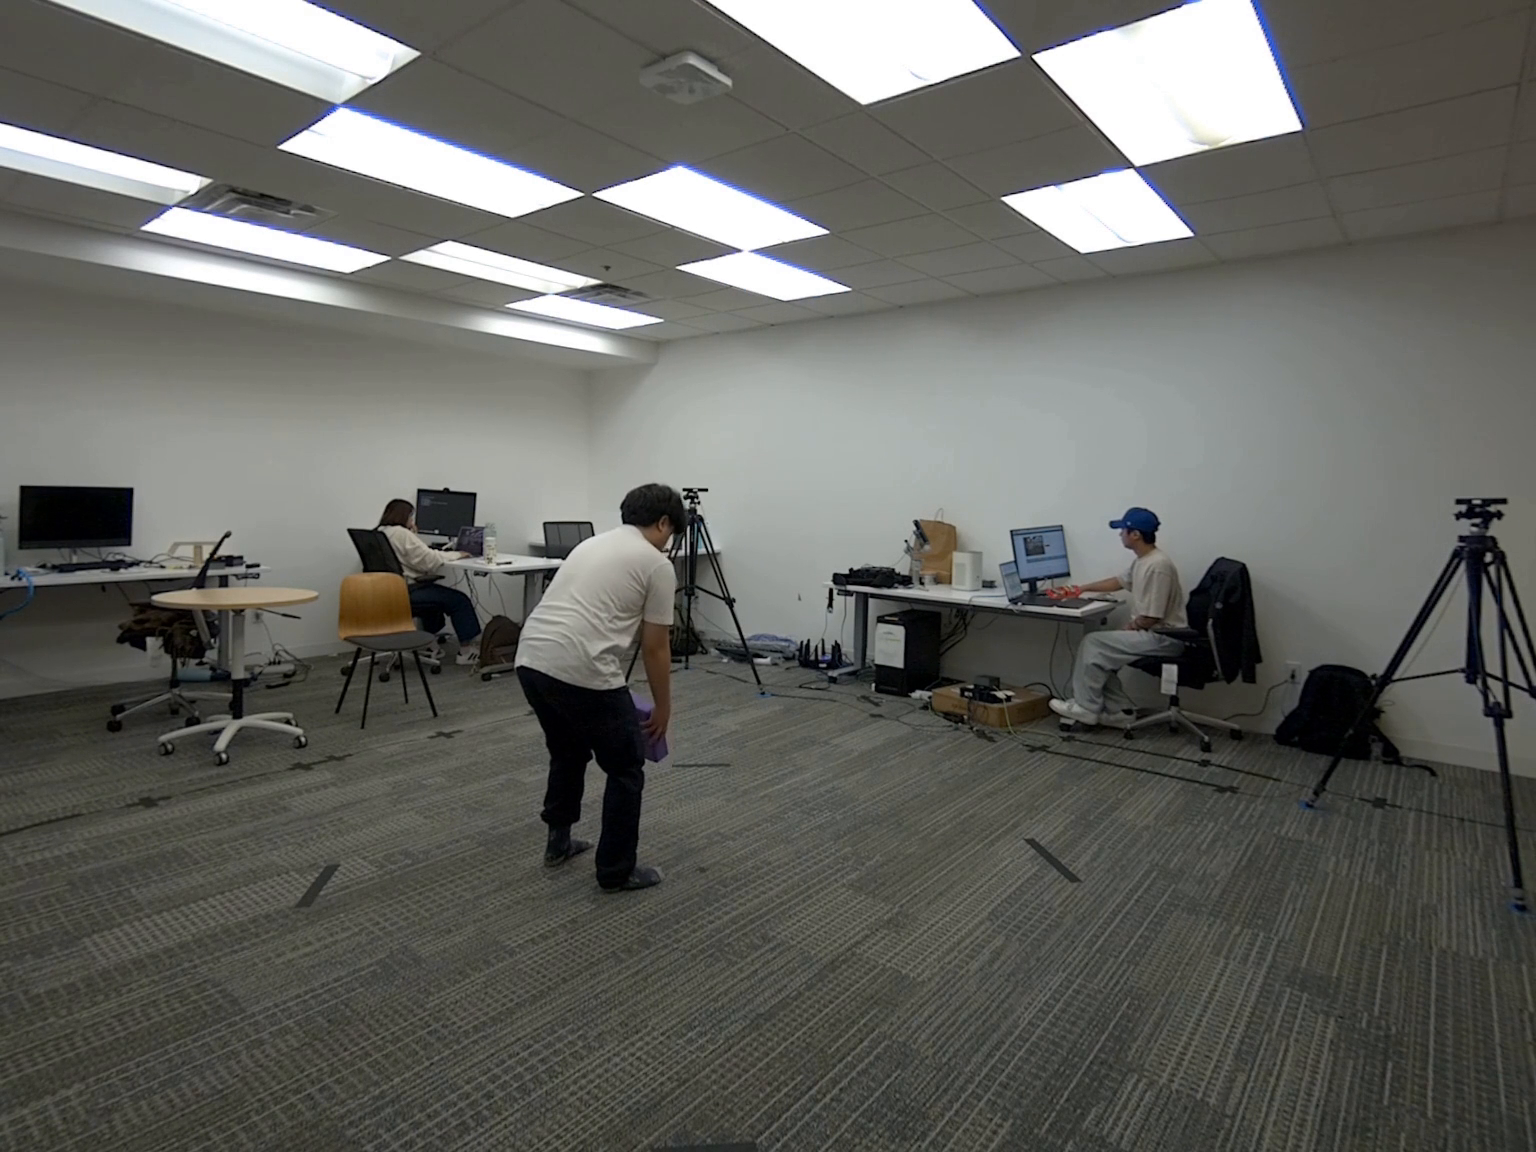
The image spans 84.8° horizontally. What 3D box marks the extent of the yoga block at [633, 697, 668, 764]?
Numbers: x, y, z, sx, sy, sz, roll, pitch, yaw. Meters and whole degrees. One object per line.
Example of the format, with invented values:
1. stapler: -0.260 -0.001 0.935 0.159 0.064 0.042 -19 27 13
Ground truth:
1. yoga block: -0.489 0.594 3.286 0.154 0.226 0.075 7 17 38
